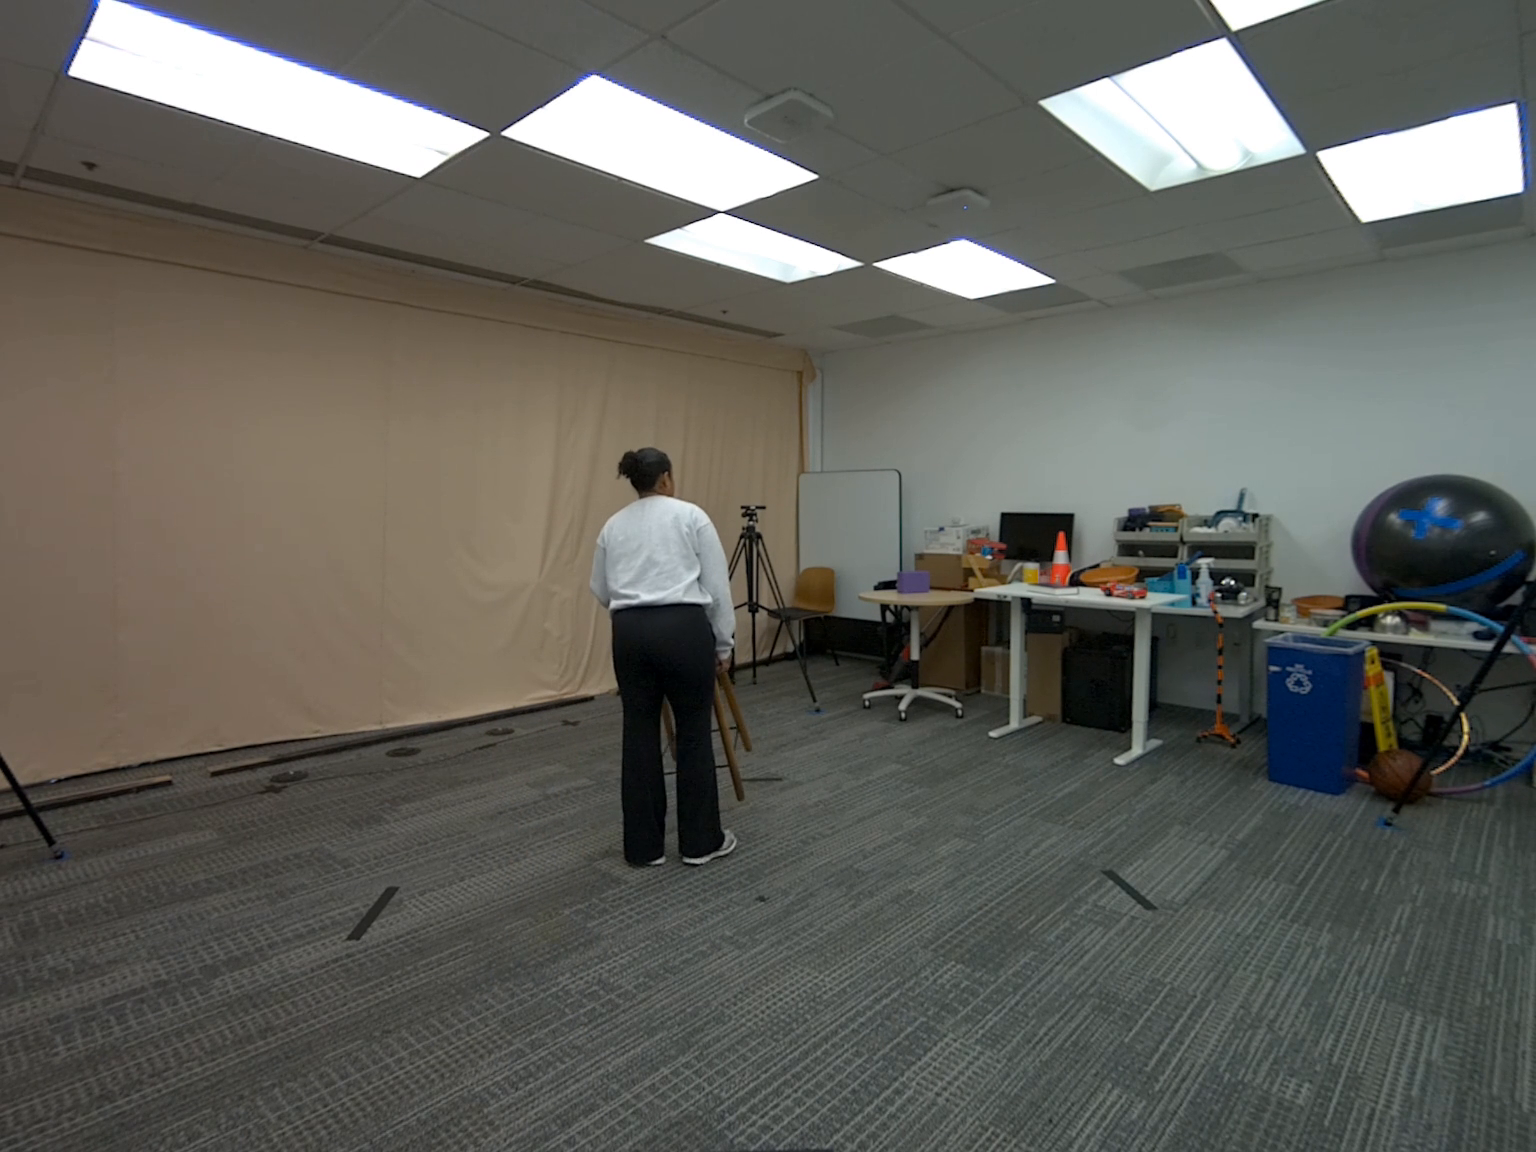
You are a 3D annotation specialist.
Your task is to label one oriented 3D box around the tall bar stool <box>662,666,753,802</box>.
[{"bbox_3d":[-0.354,0.472,3.556,0.460,0.882,0.468,-10,11,7],"label":"tall bar stool"}]
